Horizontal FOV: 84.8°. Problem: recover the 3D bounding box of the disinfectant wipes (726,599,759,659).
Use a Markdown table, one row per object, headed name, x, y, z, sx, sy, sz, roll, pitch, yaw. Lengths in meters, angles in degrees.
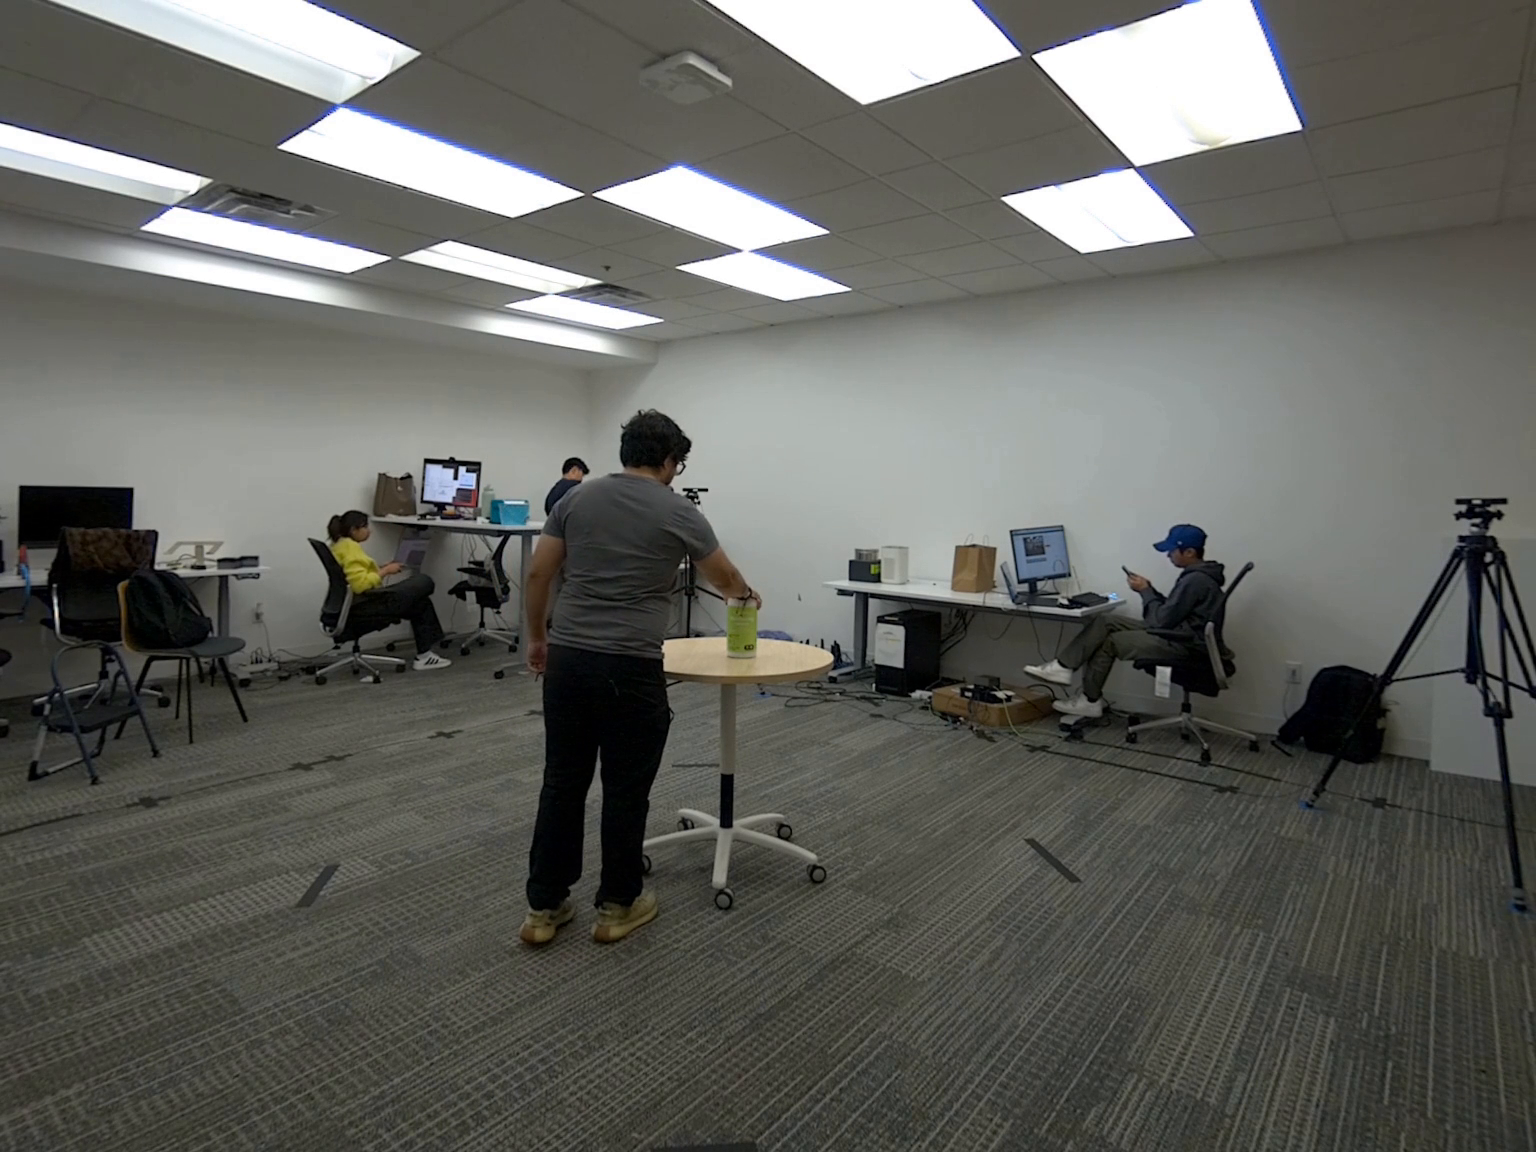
| name | x | y | z | sx | sy | sz | roll | pitch | yaw |
| --- | --- | --- | --- | --- | --- | --- | --- | --- | --- |
| disinfectant wipes | -0.106 | 0.183 | 3.099 | 0.118 | 0.217 | 0.118 | 0 | 4 | -2 |
